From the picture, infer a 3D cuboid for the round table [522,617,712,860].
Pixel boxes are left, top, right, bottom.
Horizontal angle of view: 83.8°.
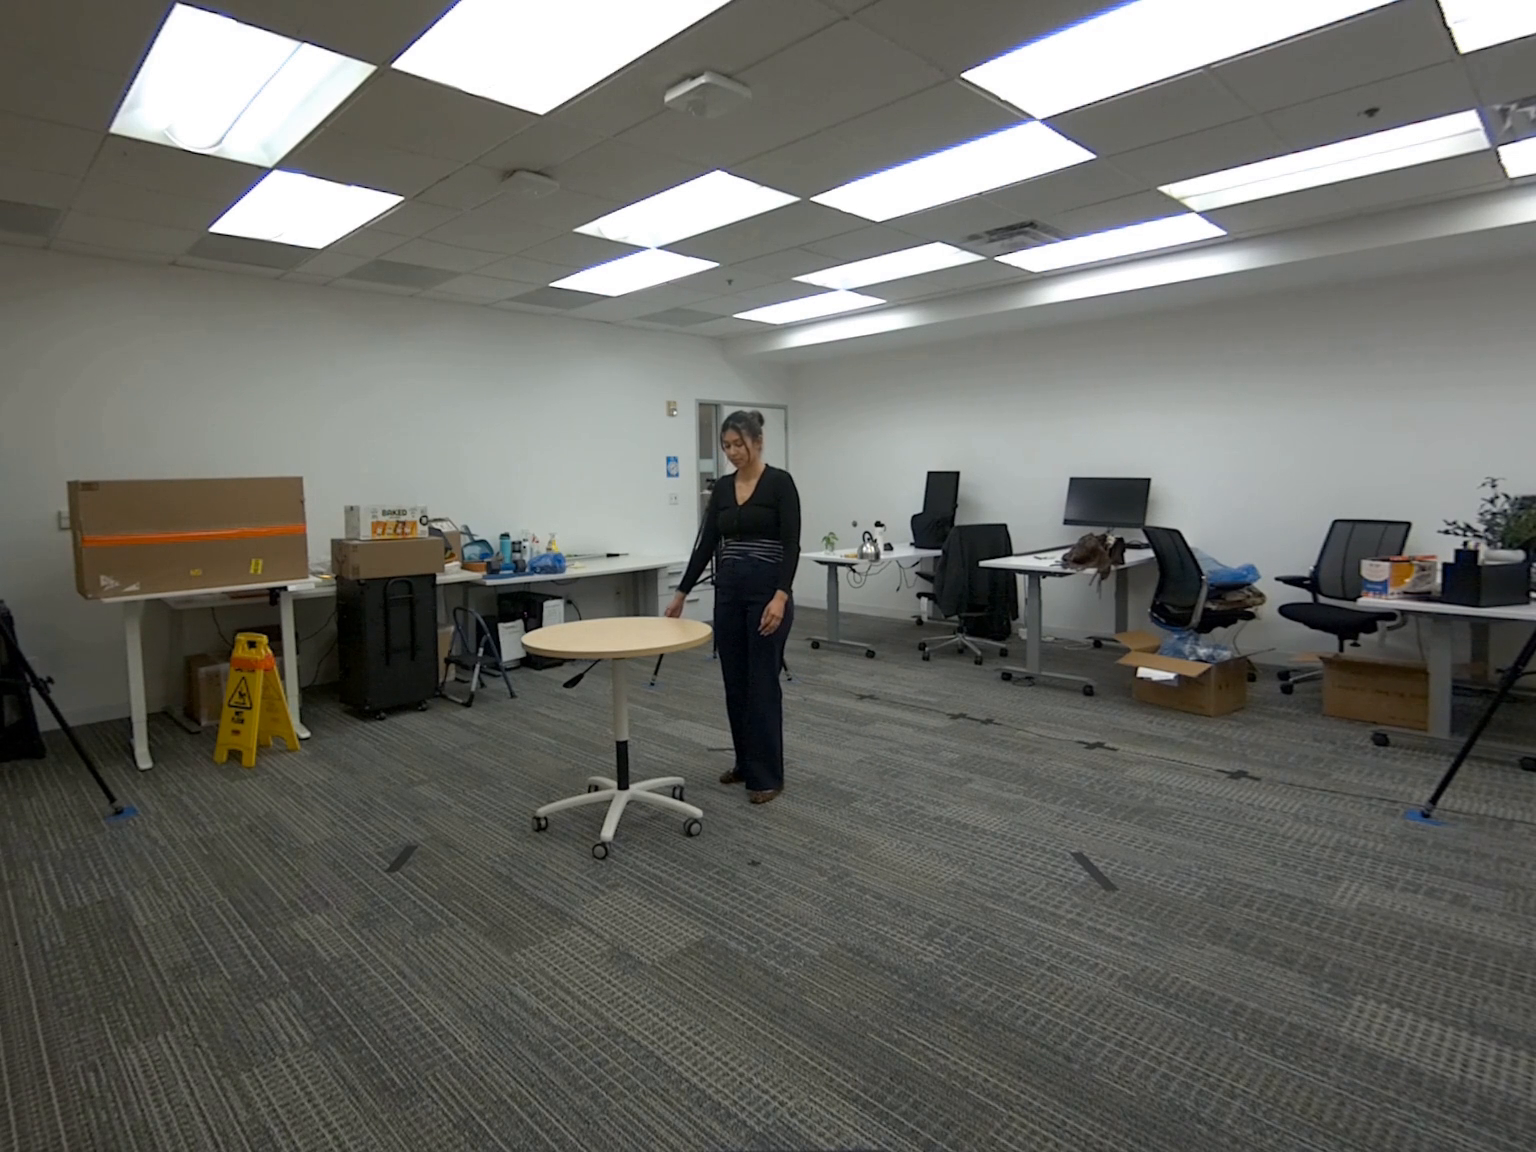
[{"bbox_3d":[-0.594,0.621,3.483,0.763,0.791,0.768,-2,5,-2],"label":"round table"}]
